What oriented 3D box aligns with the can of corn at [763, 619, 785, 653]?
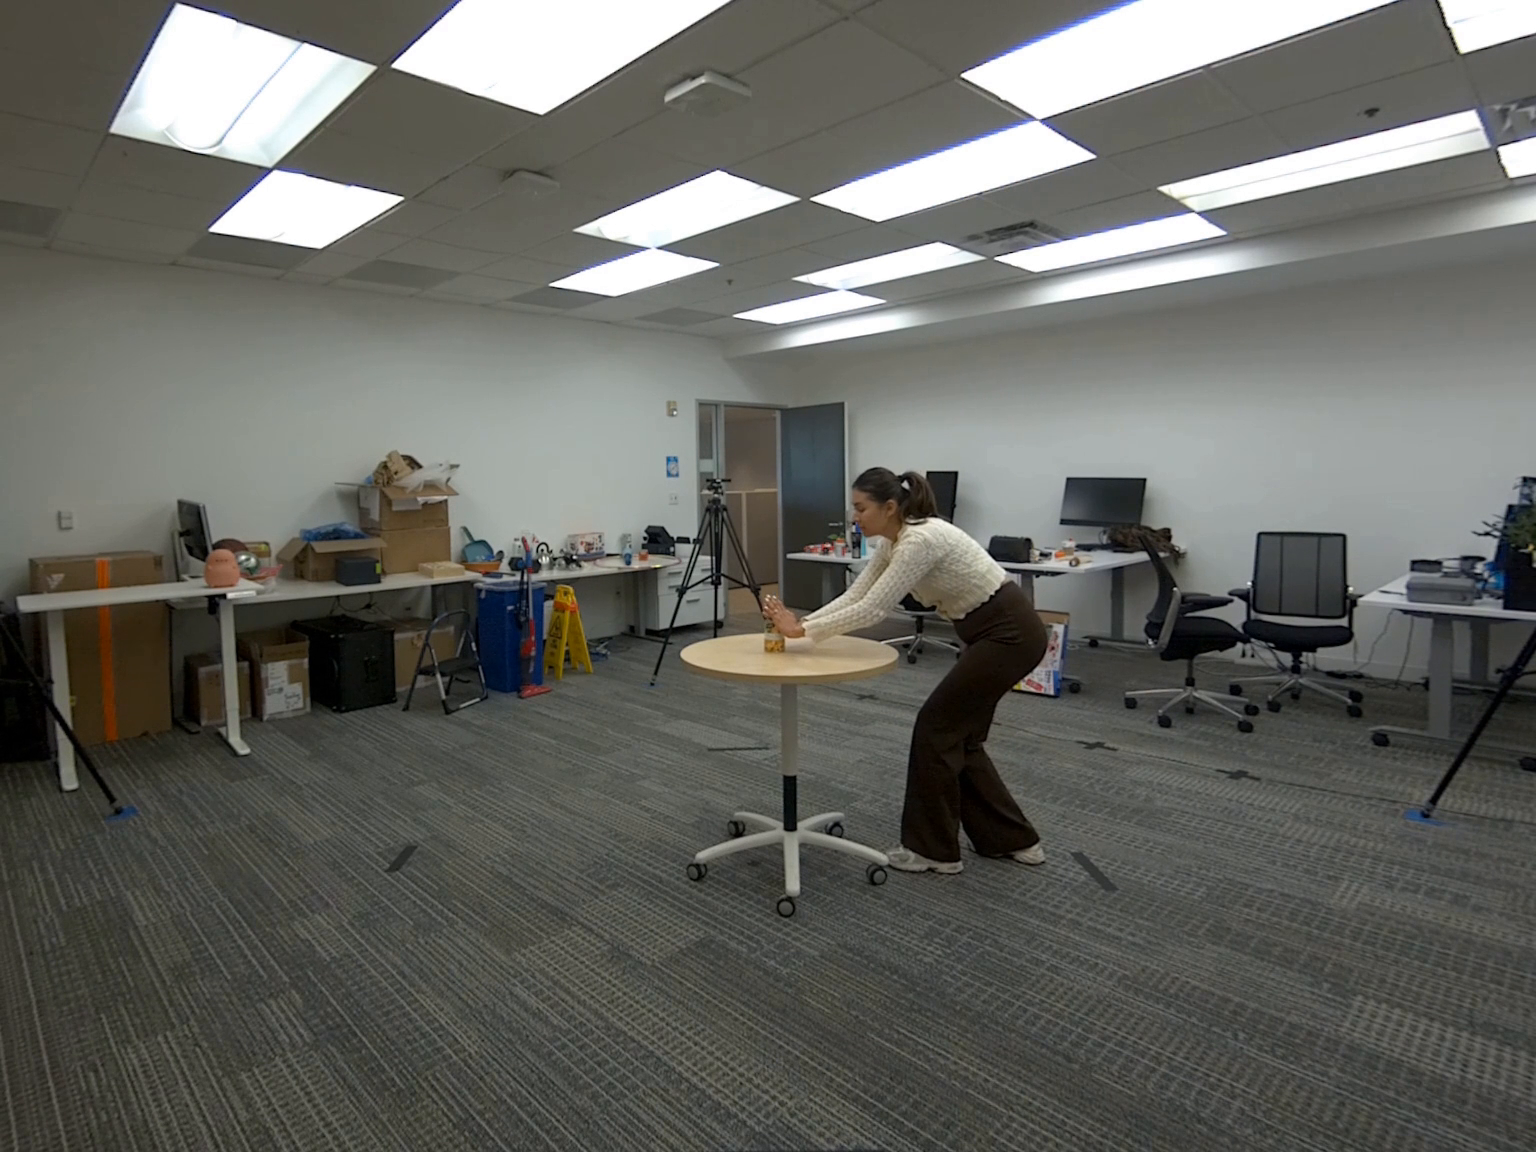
[{"bbox_3d":[0.030,0.212,3.040,0.074,0.110,0.074,1,5,-2],"label":"can of corn"}]
